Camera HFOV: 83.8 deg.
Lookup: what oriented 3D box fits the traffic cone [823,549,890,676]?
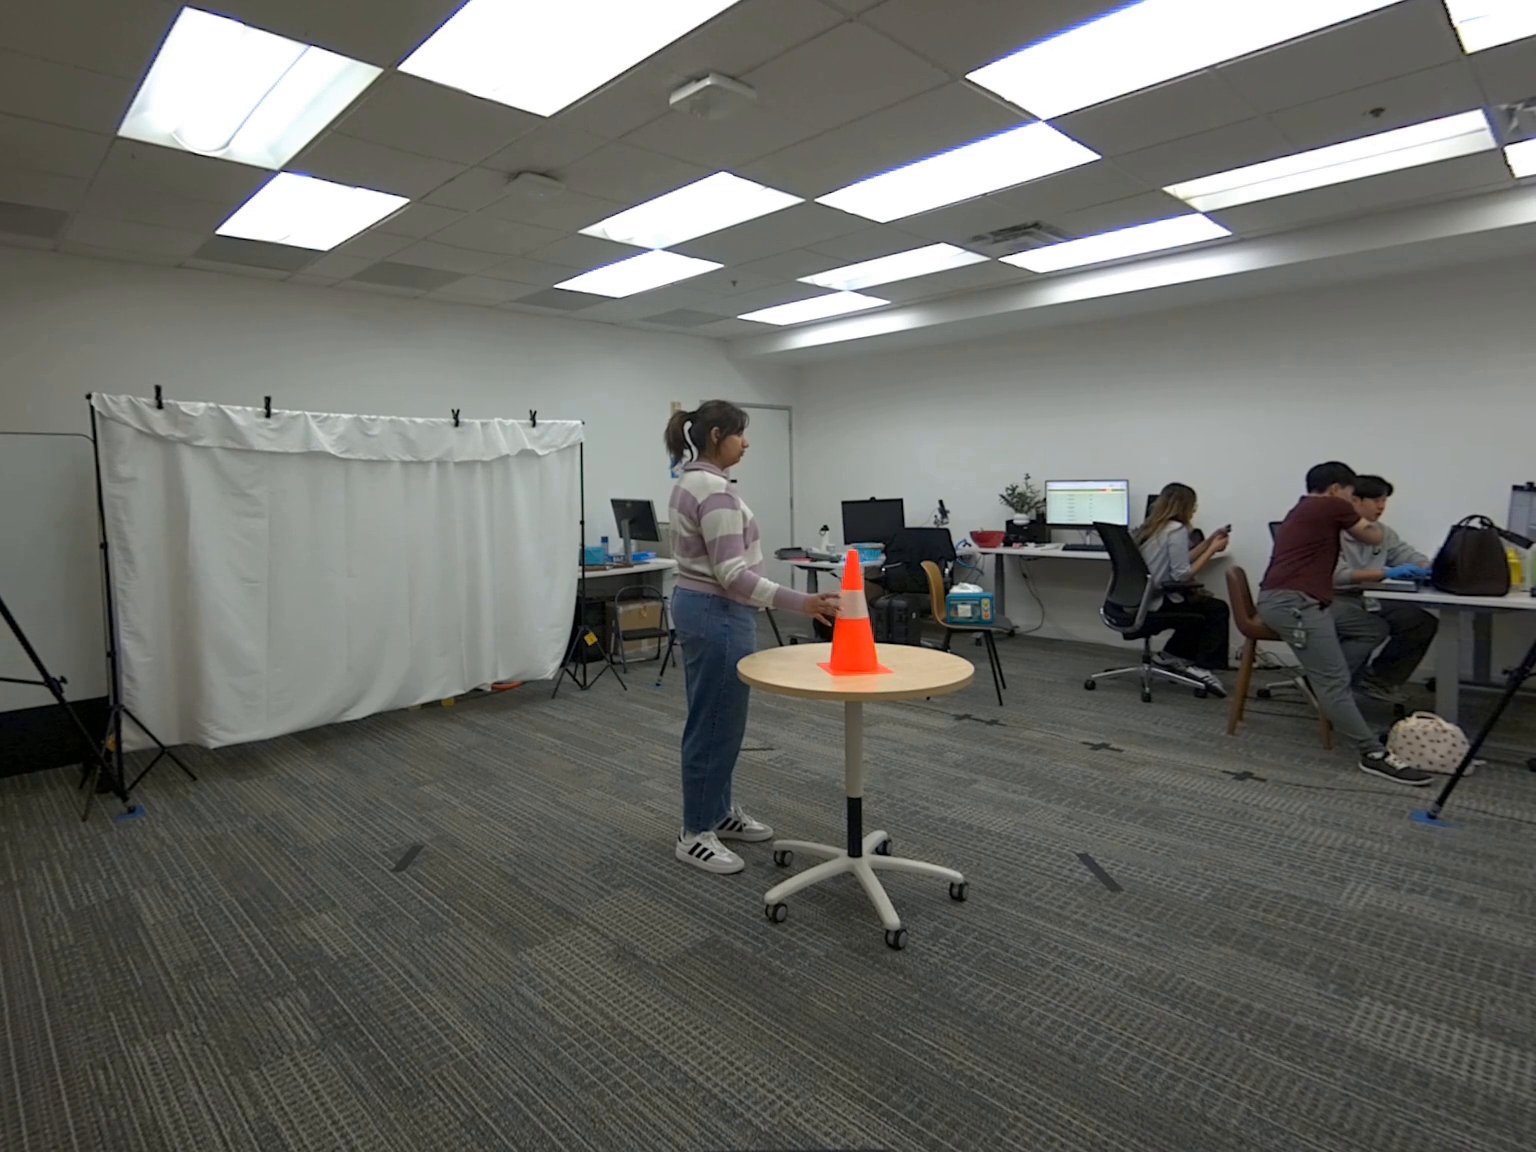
[{"bbox_3d":[0.272,0.111,2.741,0.202,0.382,0.206,-3,4,-14],"label":"traffic cone"}]
